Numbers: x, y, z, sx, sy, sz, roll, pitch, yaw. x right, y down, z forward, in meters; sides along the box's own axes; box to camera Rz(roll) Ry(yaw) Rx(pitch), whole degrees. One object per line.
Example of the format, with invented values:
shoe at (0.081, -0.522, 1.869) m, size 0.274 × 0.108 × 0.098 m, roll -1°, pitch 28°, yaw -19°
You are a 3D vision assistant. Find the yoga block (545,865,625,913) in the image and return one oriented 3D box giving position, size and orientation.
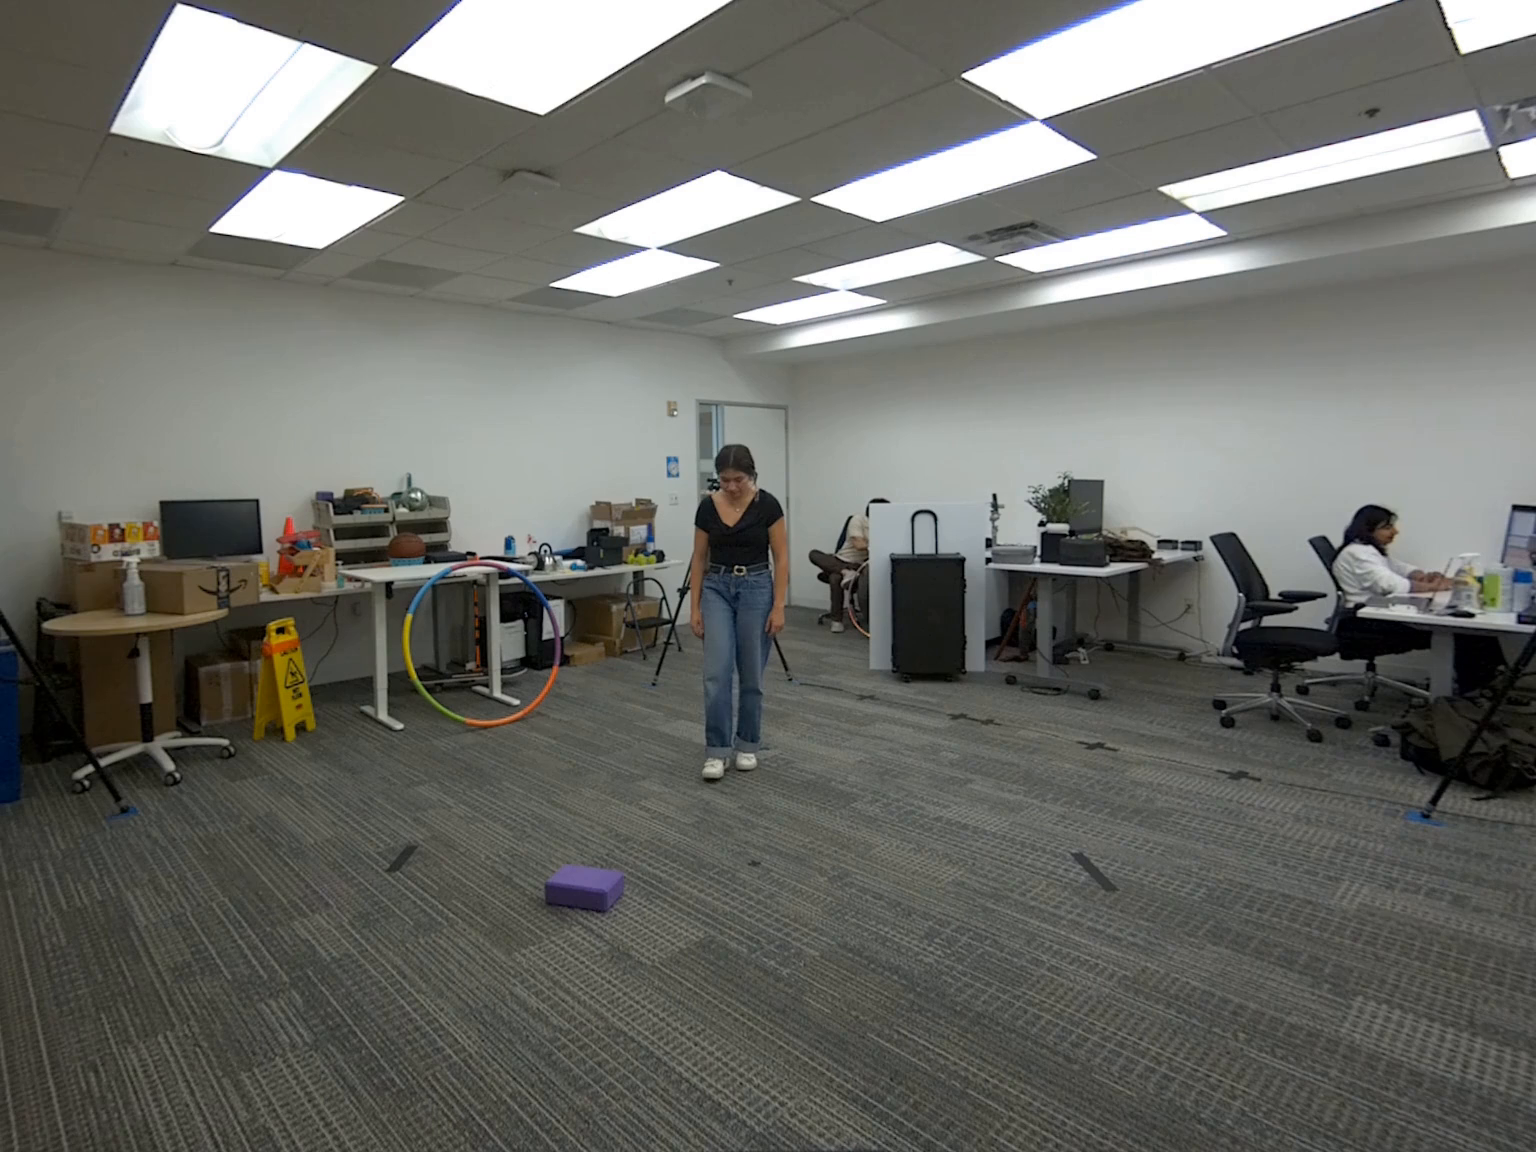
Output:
yoga block at (-0.609, 1.043, 2.868) m, size 0.233 × 0.076 × 0.147 m, roll 2°, pitch 5°, yaw 17°
